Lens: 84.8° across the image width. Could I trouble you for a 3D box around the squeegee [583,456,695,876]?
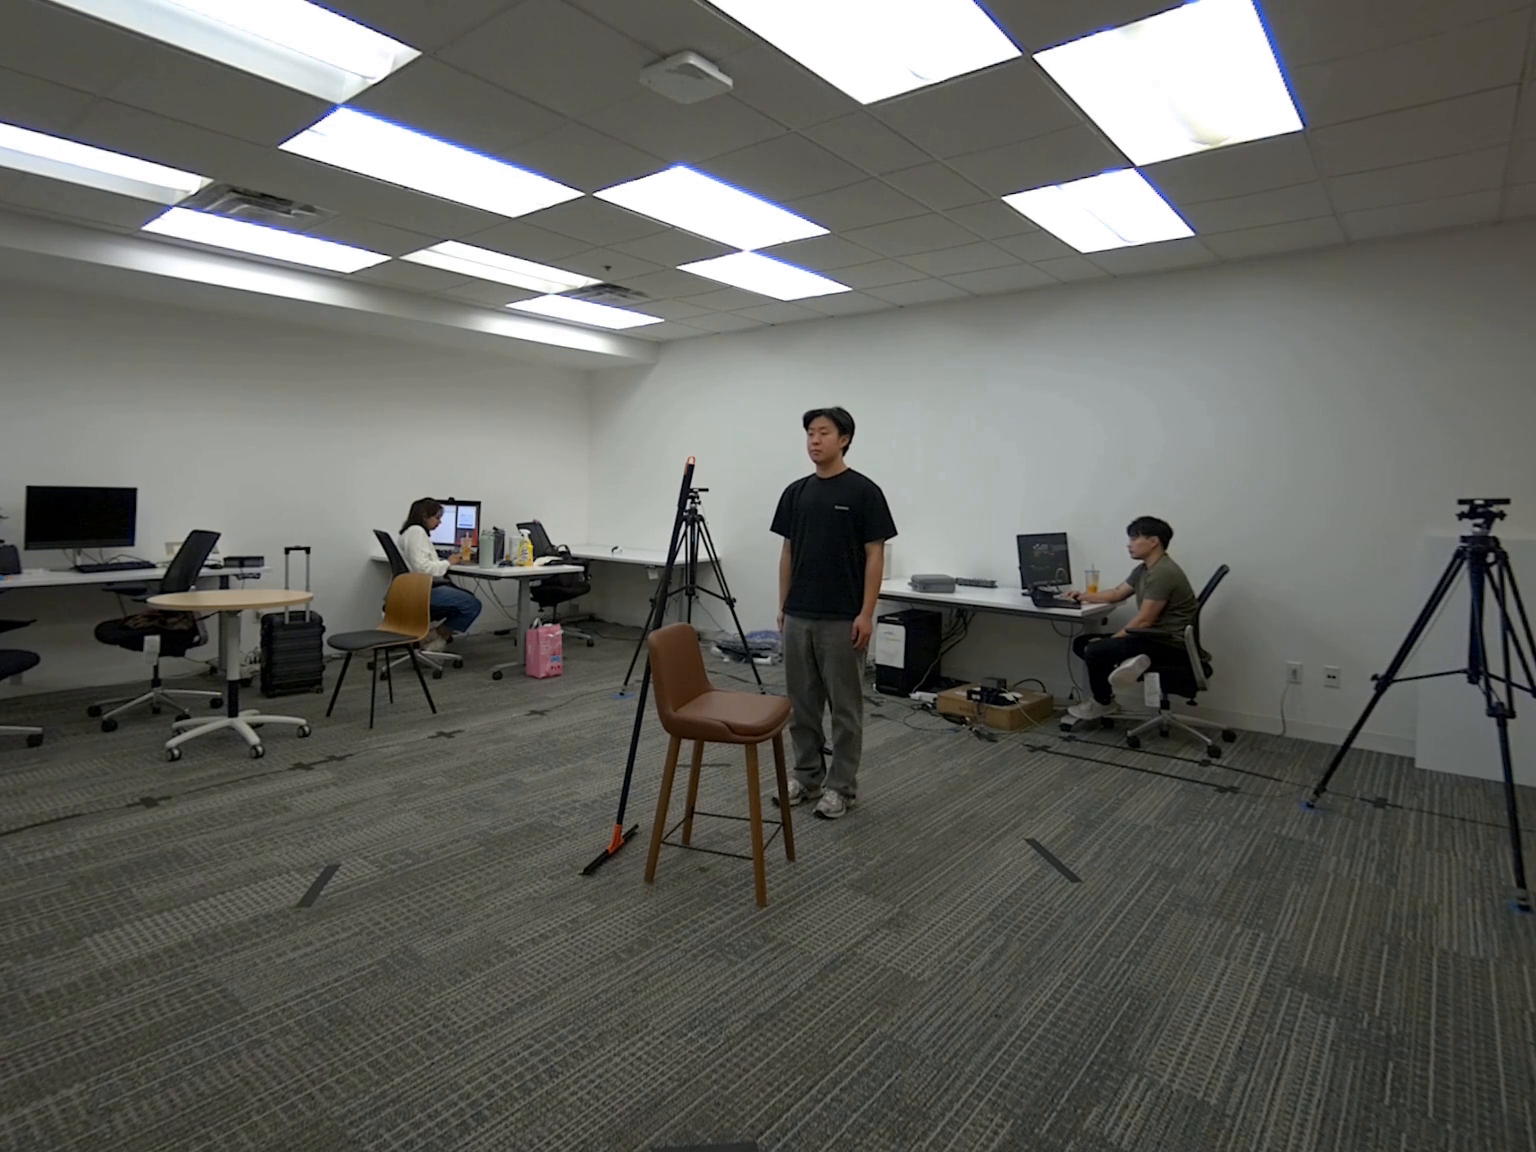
[{"bbox_3d":[-0.453,0.308,3.159,0.054,1.530,0.433,12,6,10],"label":"squeegee"}]
